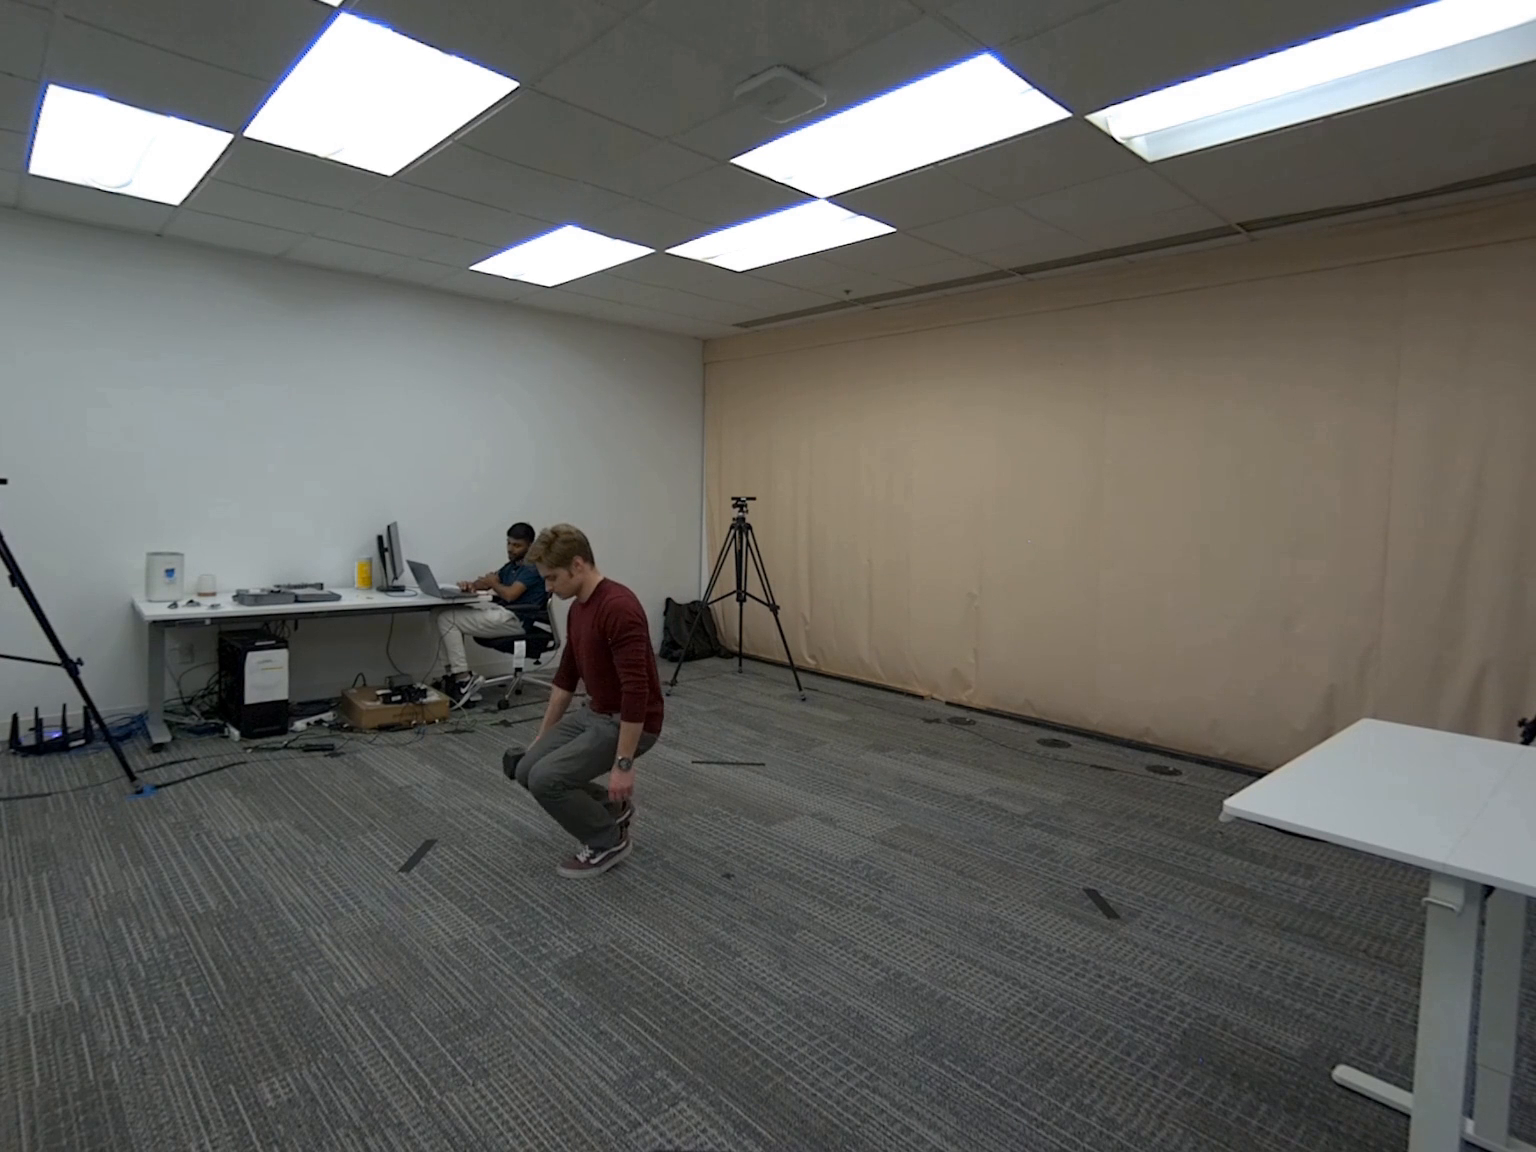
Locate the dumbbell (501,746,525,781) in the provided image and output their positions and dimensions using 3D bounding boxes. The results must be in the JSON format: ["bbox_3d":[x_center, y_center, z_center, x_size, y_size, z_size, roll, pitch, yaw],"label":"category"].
[{"bbox_3d":[-0.908,0.728,3.356,0.287,0.122,0.112,-3,43,-37],"label":"dumbbell"}]
